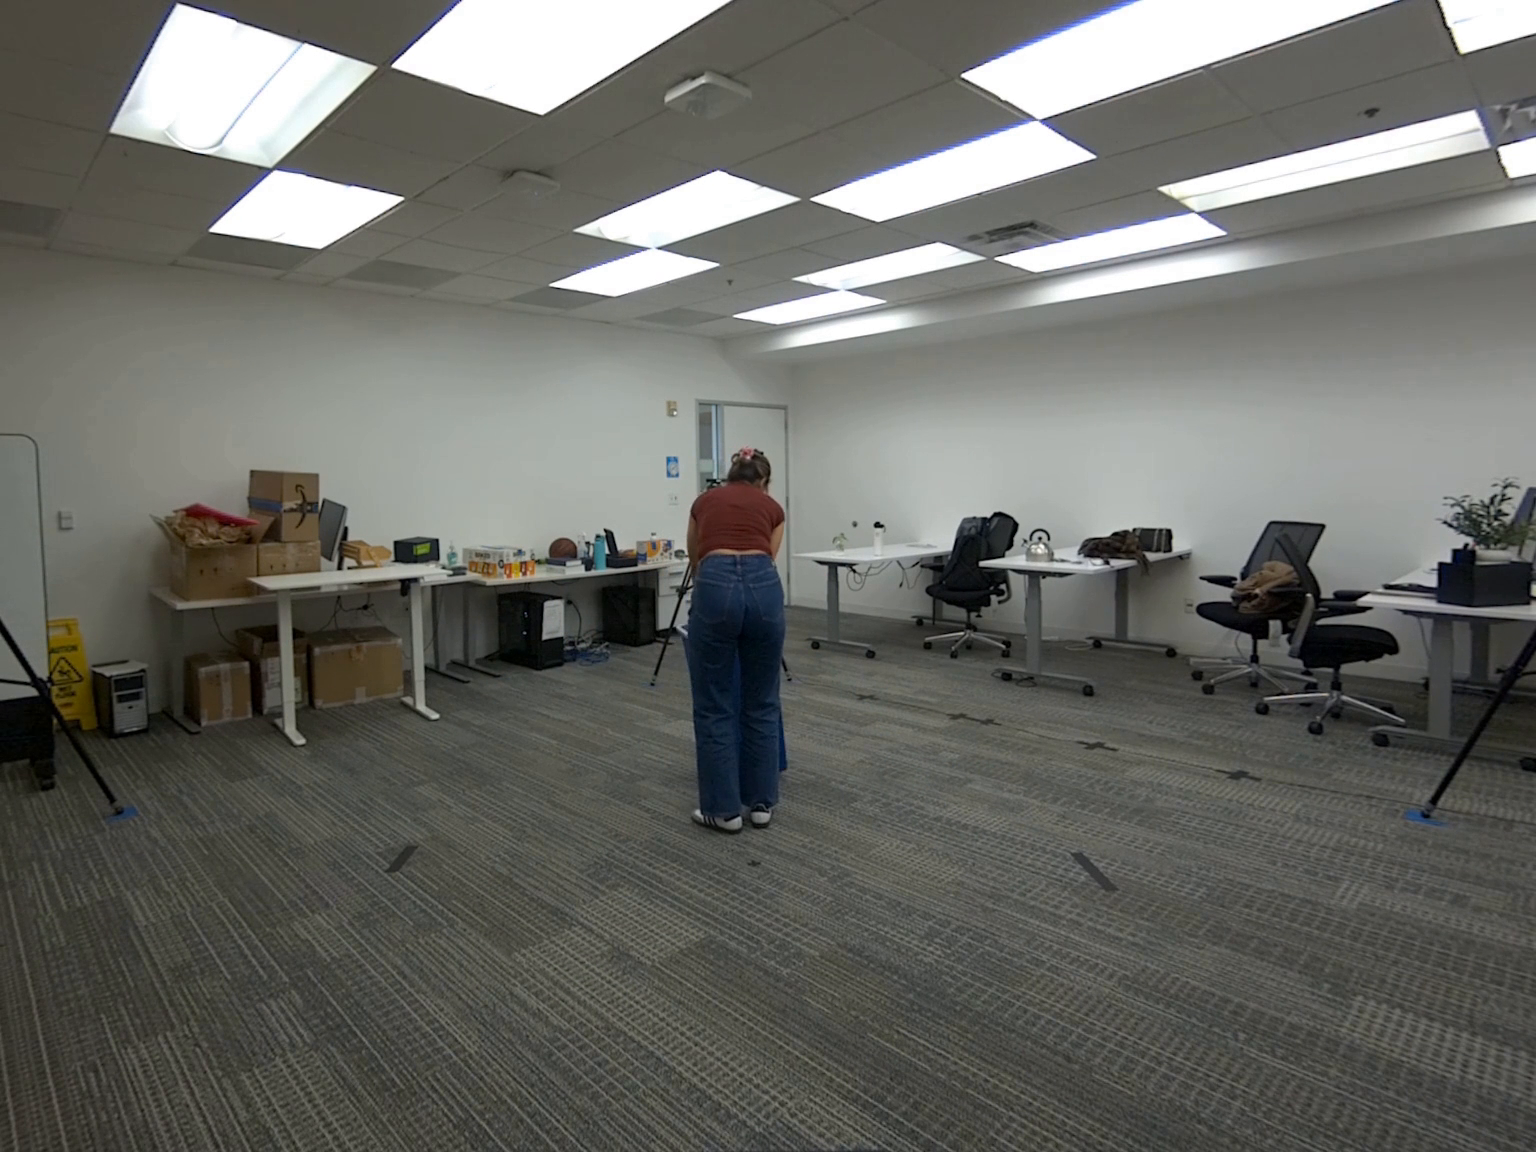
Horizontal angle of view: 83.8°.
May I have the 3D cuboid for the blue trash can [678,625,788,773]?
[{"bbox_3d":[-0.148,0.571,4.004,0.368,0.707,0.388,-12,10,-21],"label":"blue trash can"}]
